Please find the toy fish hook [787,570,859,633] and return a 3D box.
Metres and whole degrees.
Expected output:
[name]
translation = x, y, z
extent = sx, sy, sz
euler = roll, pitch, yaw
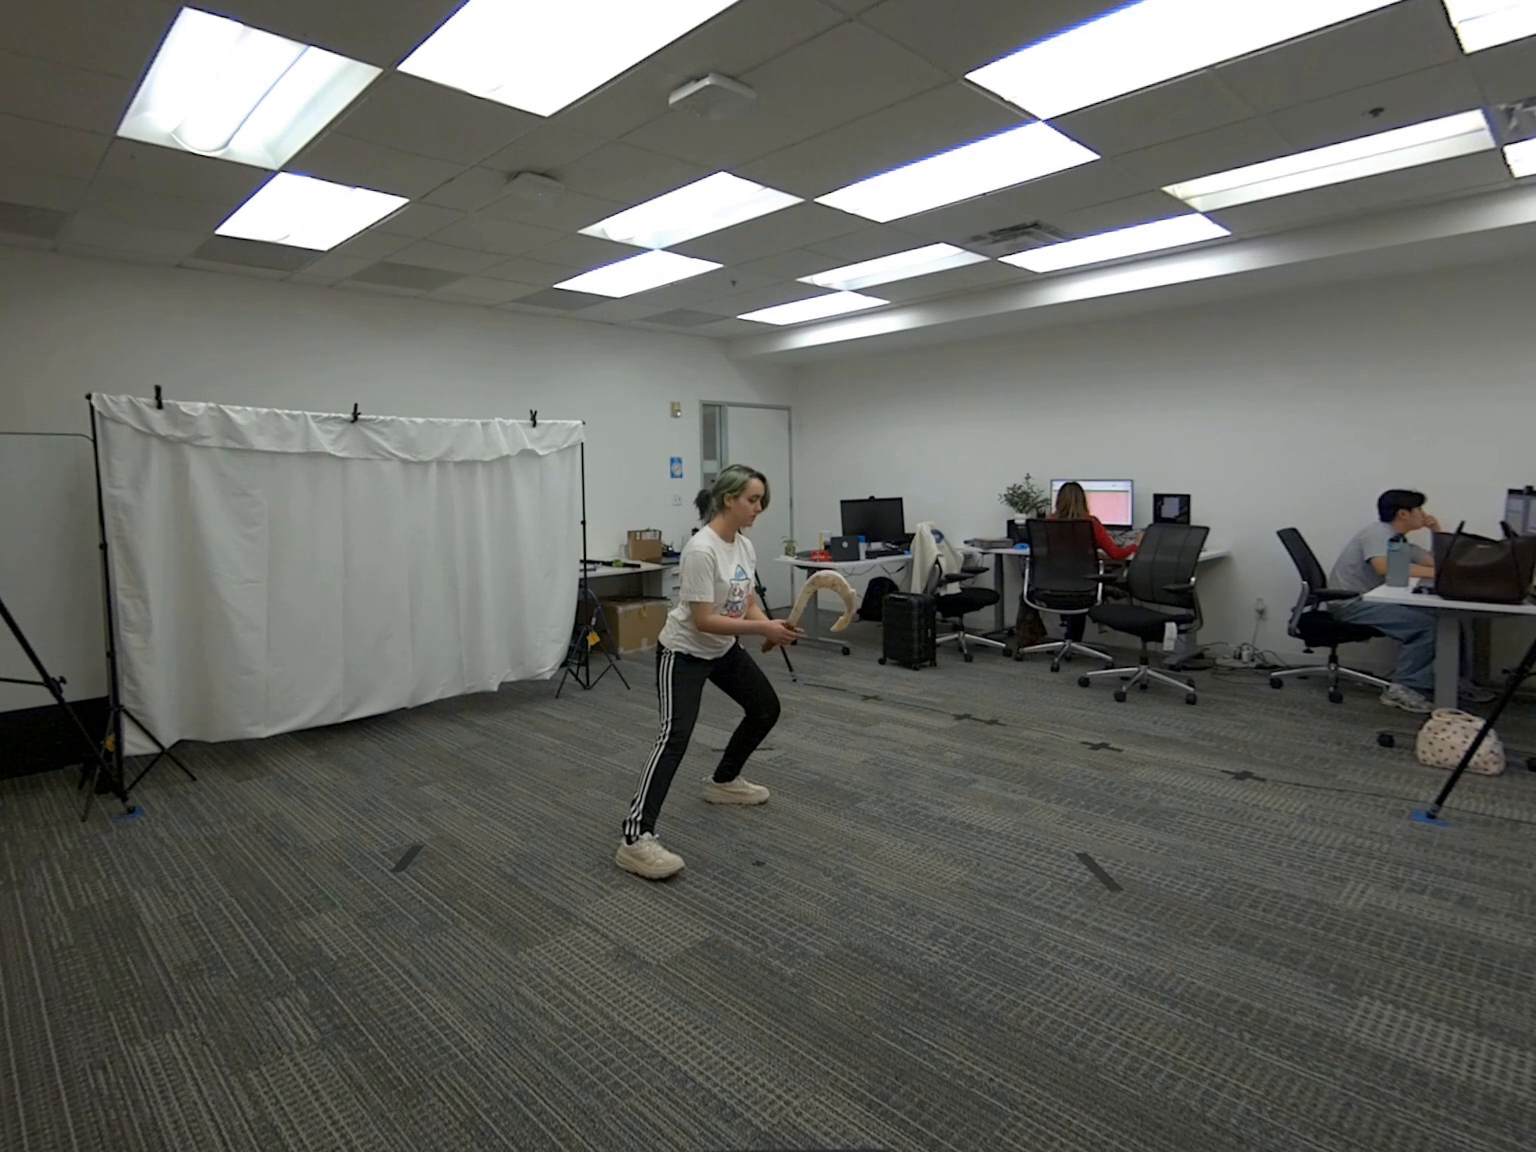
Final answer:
[toy fish hook]
translation = 0.159, 0.180, 3.290
extent = 0.047, 0.229, 0.505
euler = -18, -26, -53
